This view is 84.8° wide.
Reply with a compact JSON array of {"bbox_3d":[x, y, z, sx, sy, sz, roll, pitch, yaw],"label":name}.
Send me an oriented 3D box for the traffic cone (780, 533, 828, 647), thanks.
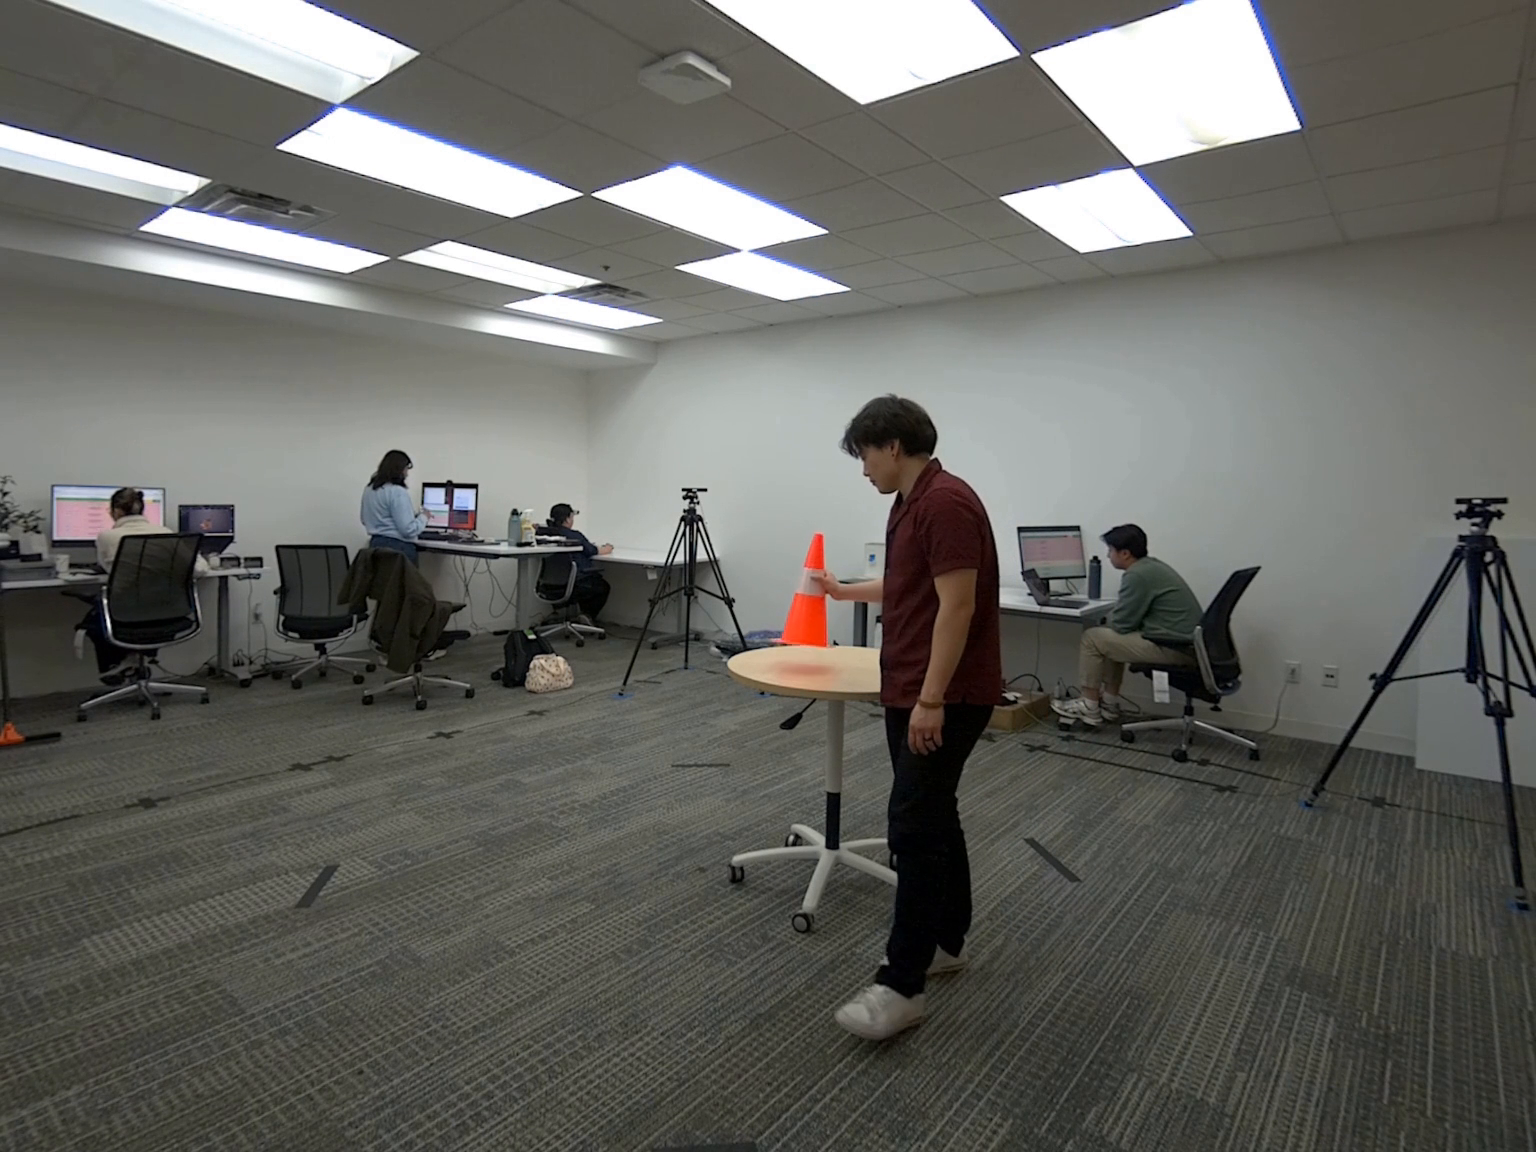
[{"bbox_3d":[0.139,0.043,2.894,0.210,0.384,0.198,7,0,21],"label":"traffic cone"}]
